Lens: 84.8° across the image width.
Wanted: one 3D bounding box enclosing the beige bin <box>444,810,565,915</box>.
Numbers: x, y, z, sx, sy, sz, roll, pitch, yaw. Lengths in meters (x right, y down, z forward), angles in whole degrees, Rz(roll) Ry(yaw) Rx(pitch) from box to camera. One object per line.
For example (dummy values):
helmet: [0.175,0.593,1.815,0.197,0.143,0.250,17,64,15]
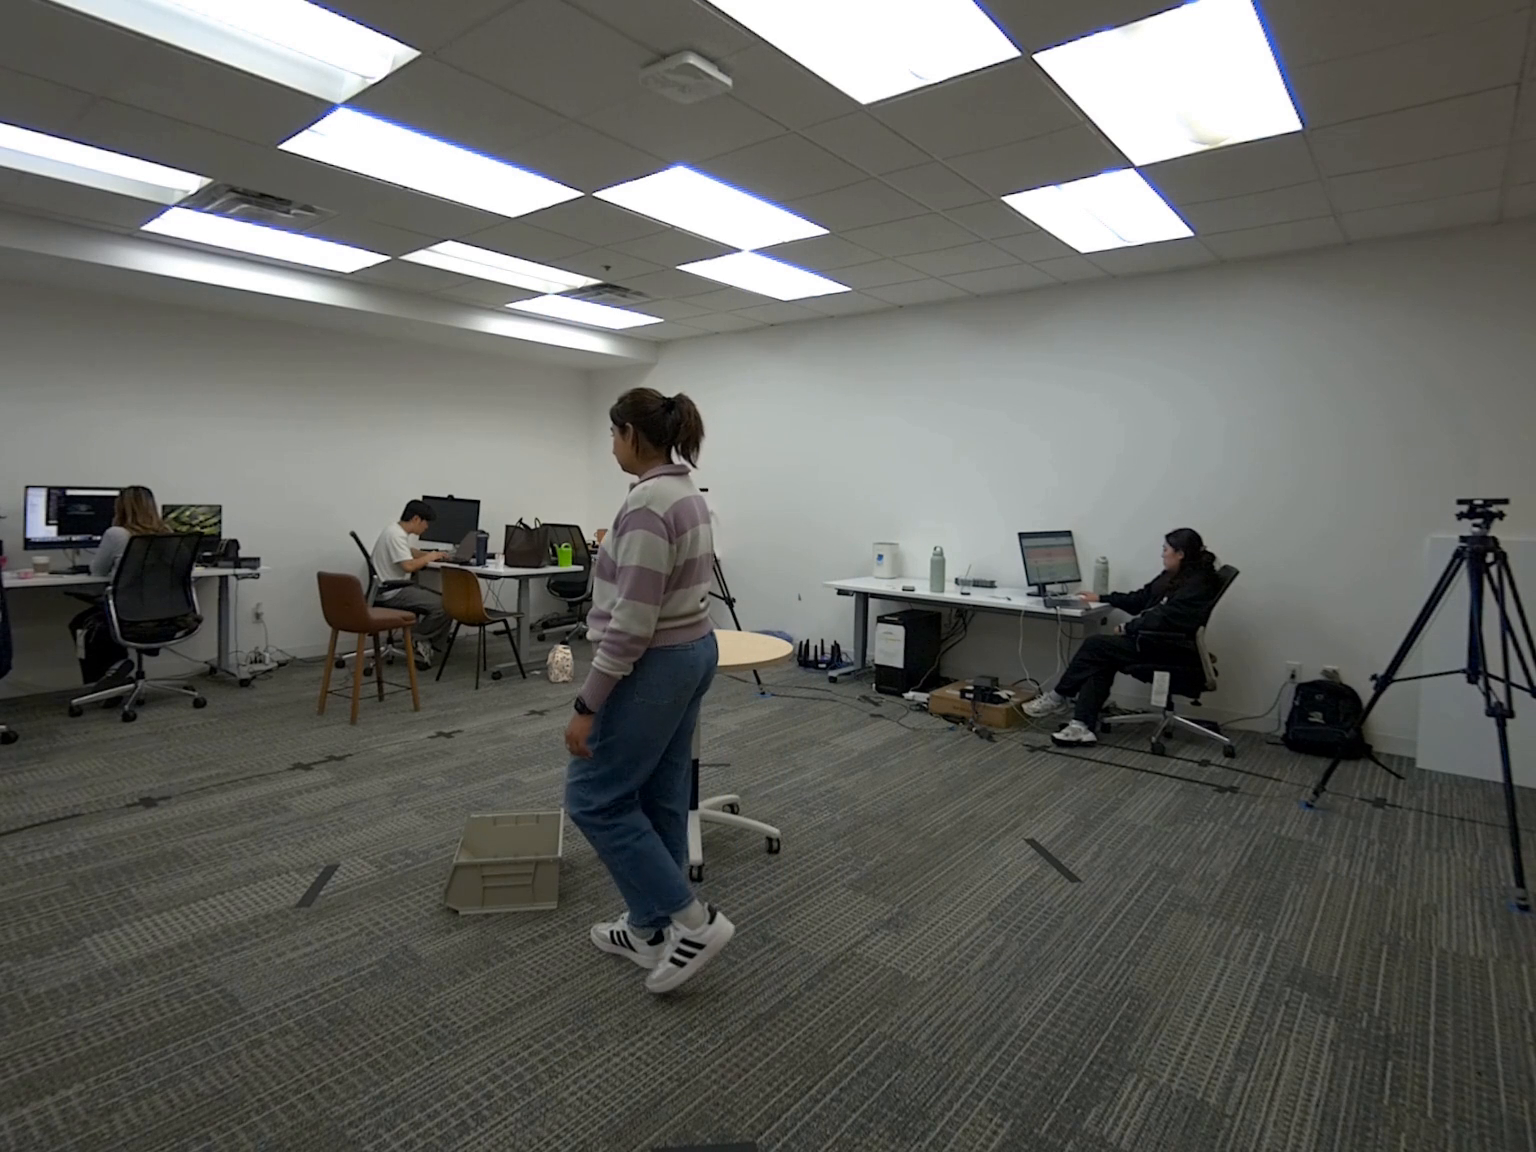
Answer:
beige bin: [-0.924,0.986,2.963,0.373,0.188,0.429,1,4,-11]
